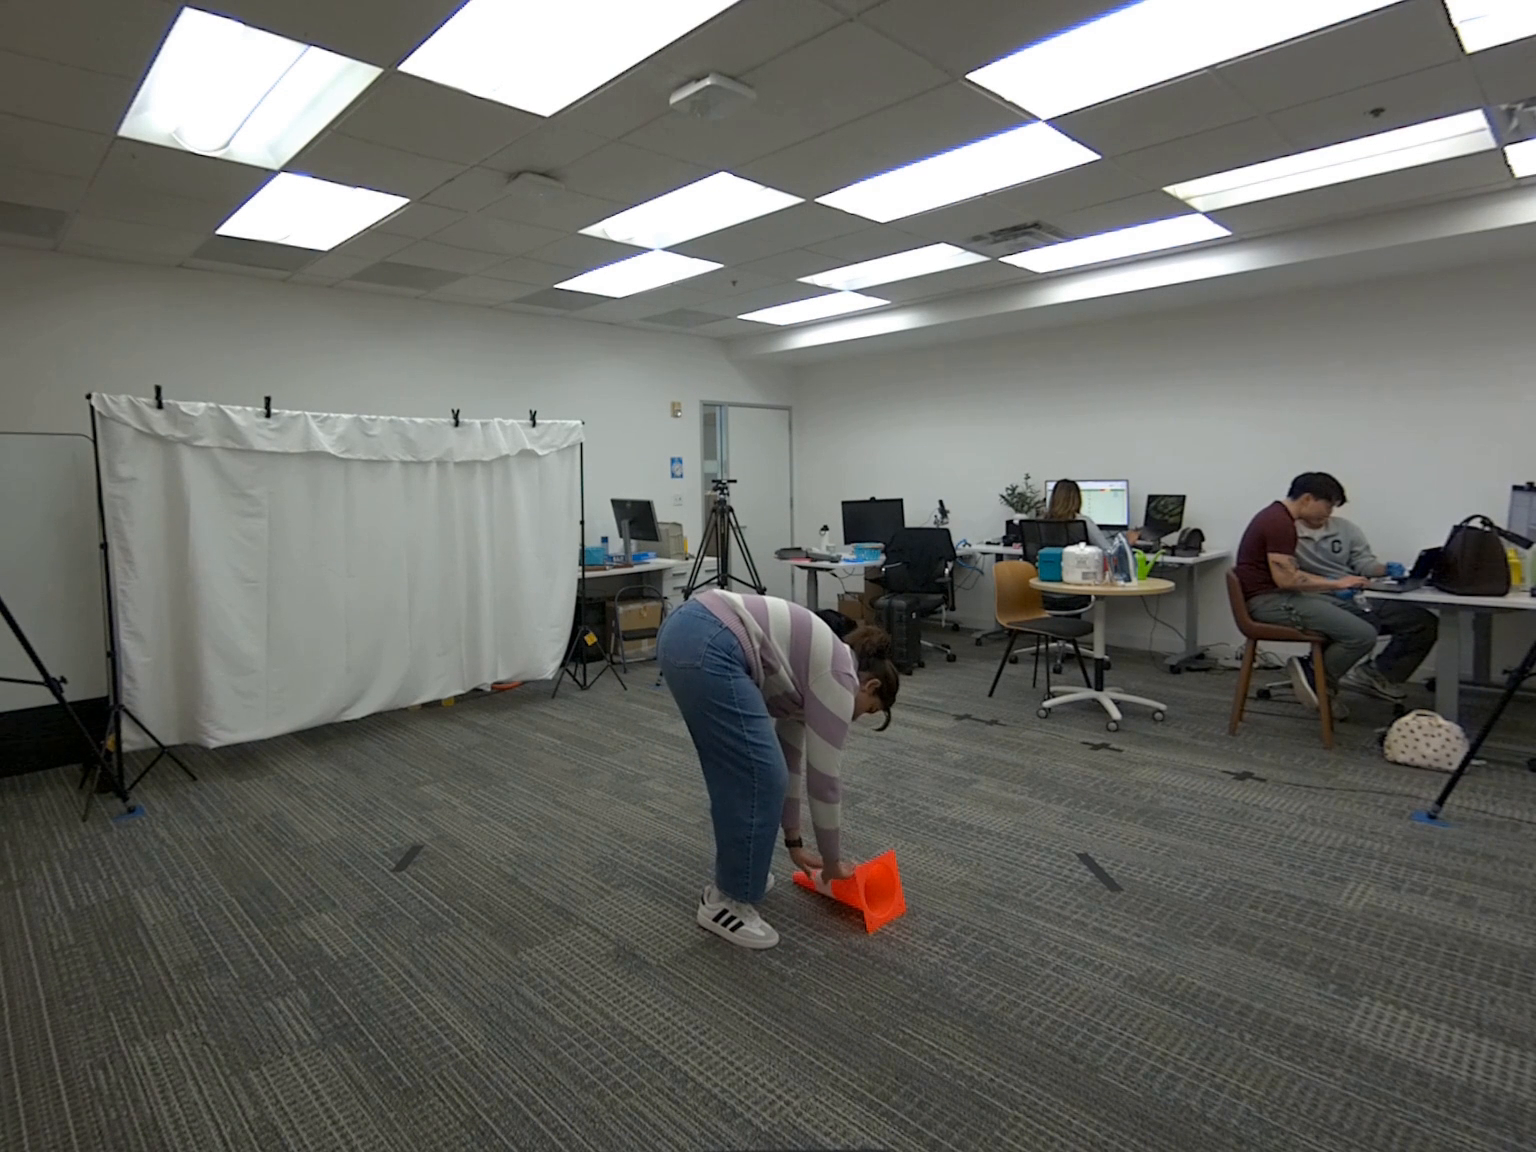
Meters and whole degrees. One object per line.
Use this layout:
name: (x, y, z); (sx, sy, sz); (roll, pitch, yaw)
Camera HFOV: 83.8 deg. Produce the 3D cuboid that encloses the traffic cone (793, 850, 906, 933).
traffic cone: (0.231, 1.024, 2.829); (0.199, 0.205, 0.391); (-5, -7, -44)
